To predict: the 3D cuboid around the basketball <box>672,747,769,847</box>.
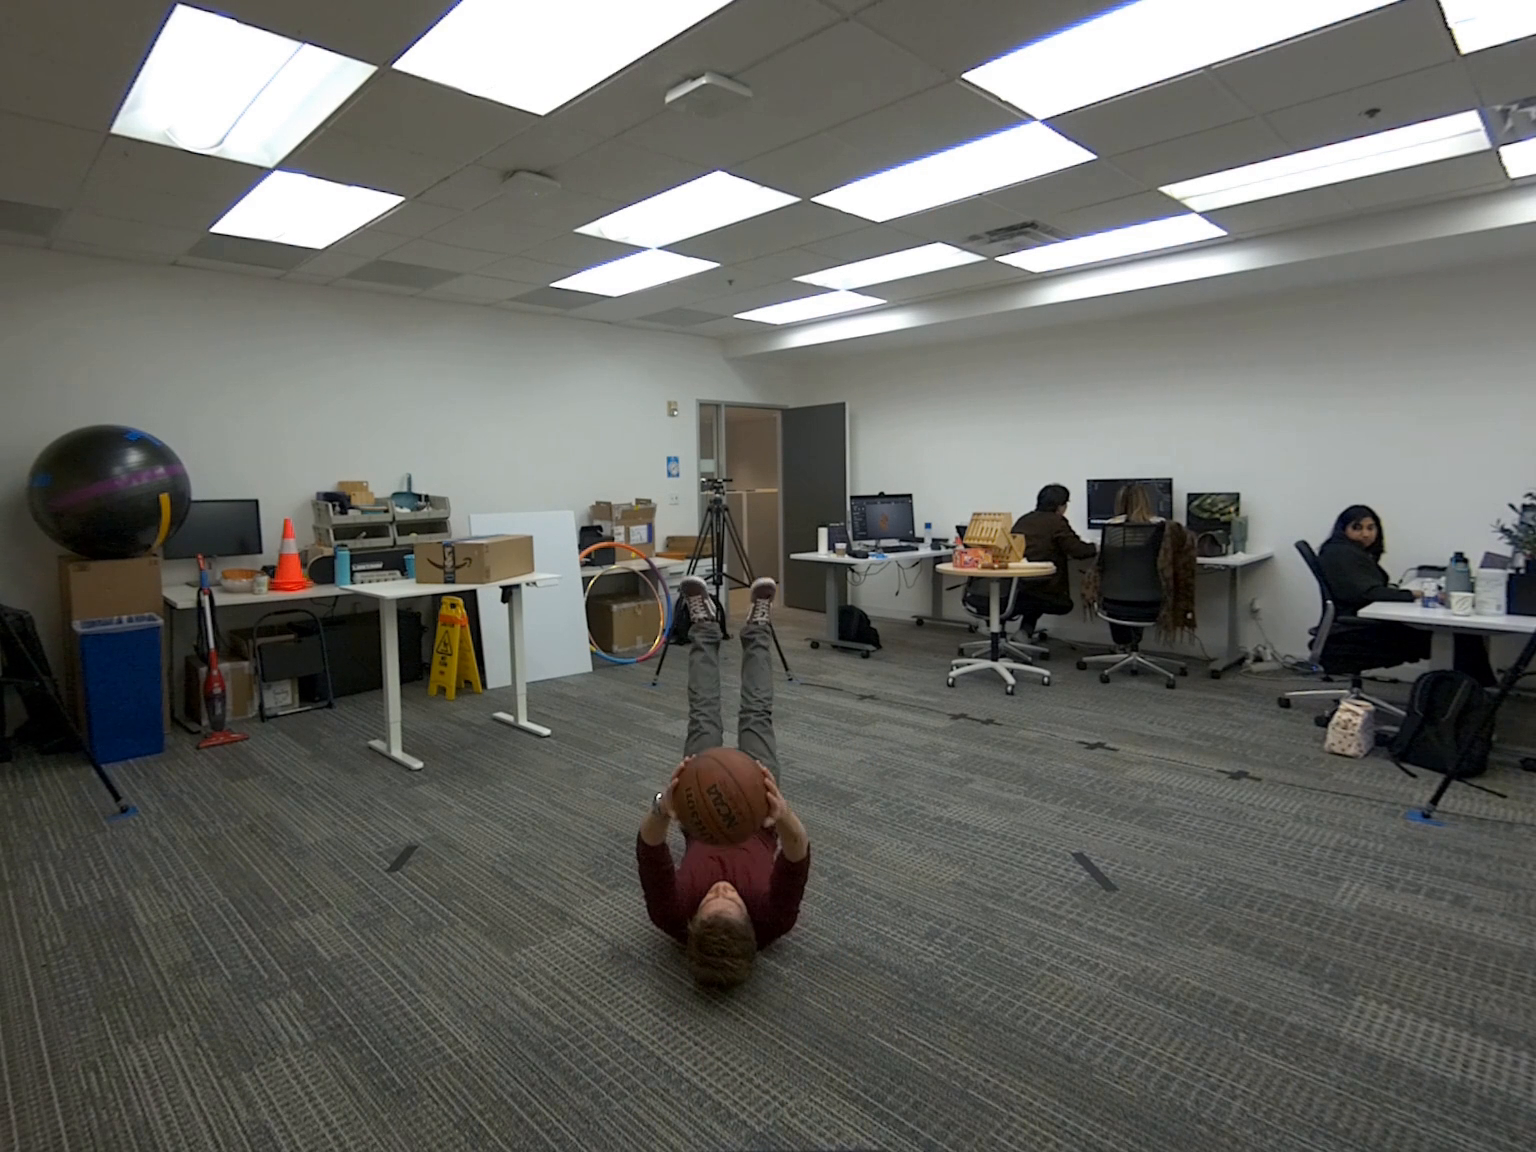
[{"bbox_3d":[-0.106,0.555,2.130,0.236,0.235,0.237,-1,5,-2],"label":"basketball"}]
